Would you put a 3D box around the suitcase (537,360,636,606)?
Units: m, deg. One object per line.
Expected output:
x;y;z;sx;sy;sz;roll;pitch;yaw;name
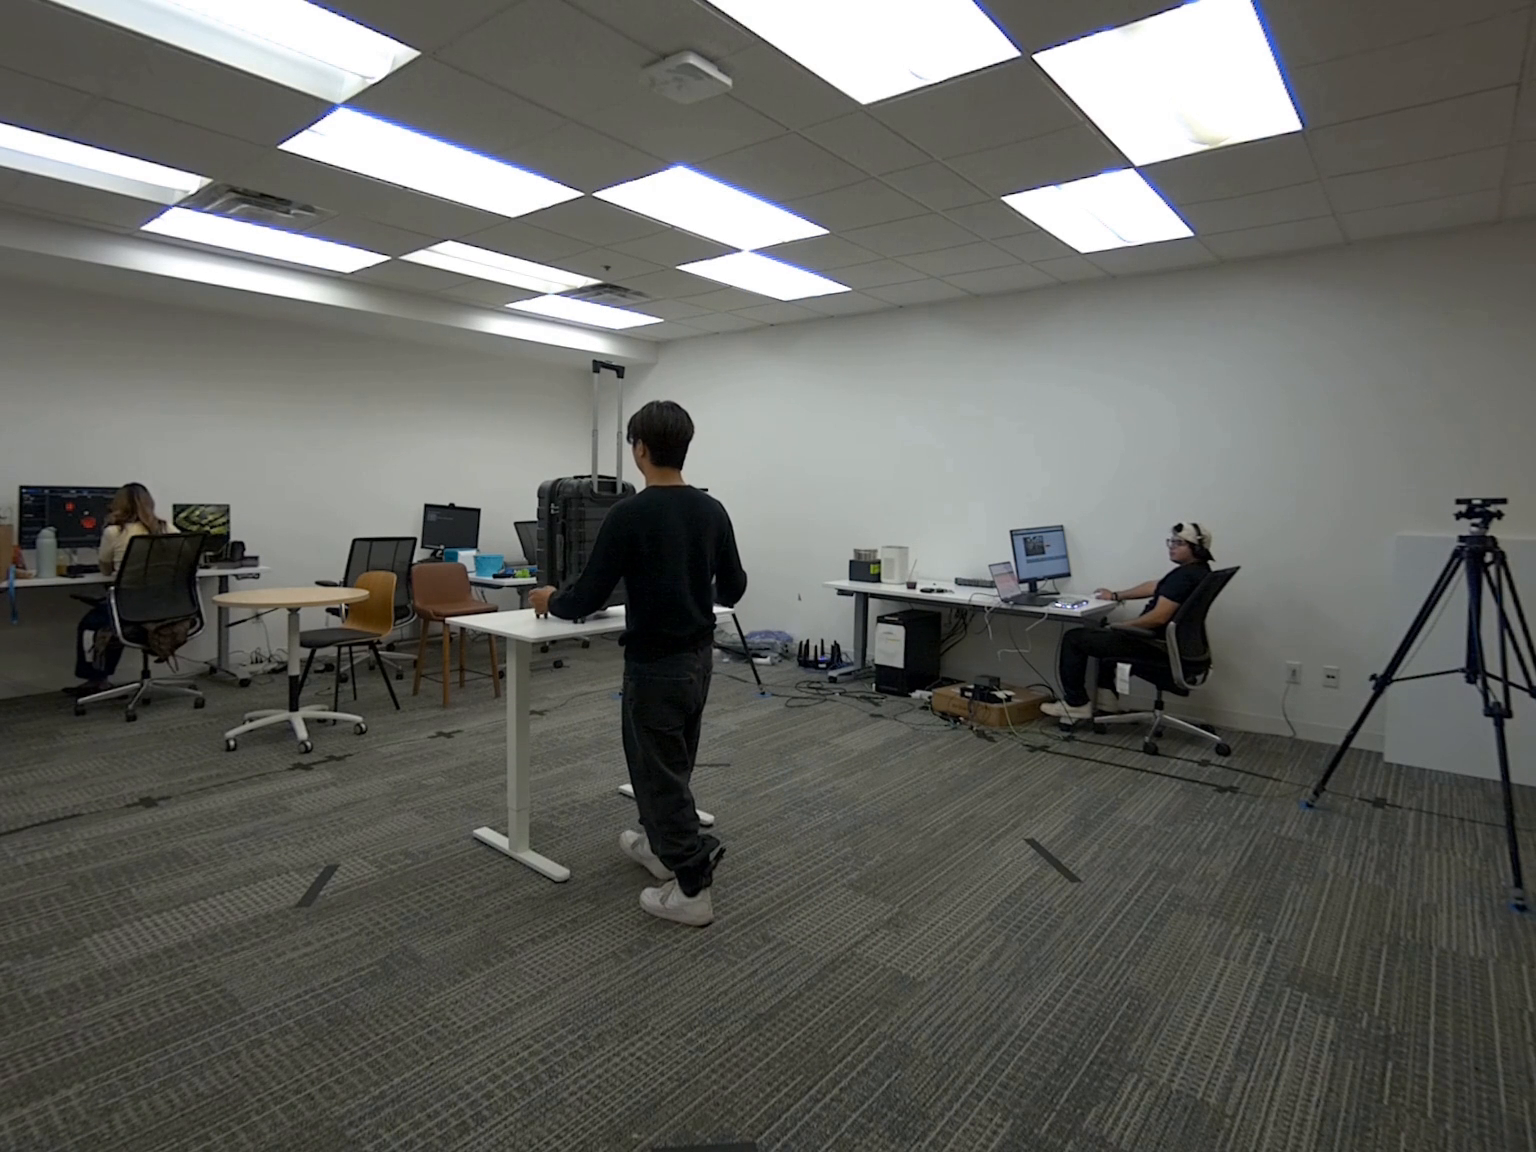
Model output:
-0.720;-0.325;3.304;0.265;0.977;0.372;1;2;38;suitcase
